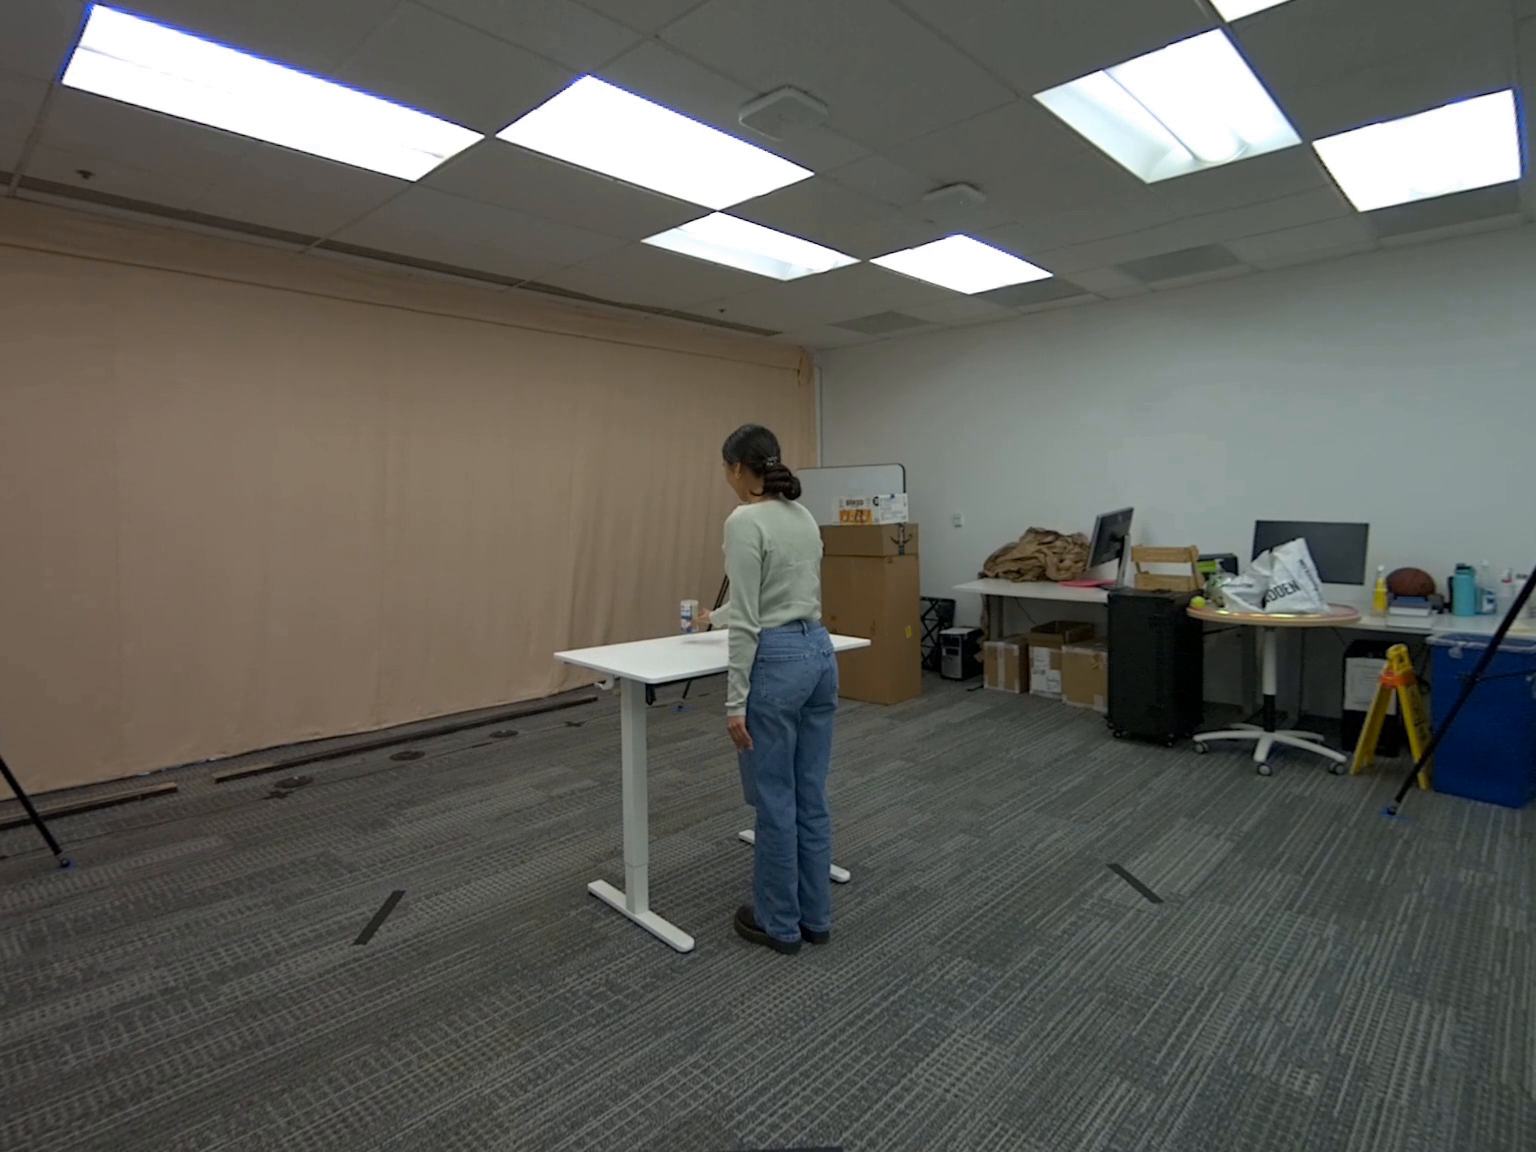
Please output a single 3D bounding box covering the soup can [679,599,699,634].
[{"bbox_3d":[-0.290,0.151,3.140,0.067,0.121,0.067,0,4,-2],"label":"soup can"}]
